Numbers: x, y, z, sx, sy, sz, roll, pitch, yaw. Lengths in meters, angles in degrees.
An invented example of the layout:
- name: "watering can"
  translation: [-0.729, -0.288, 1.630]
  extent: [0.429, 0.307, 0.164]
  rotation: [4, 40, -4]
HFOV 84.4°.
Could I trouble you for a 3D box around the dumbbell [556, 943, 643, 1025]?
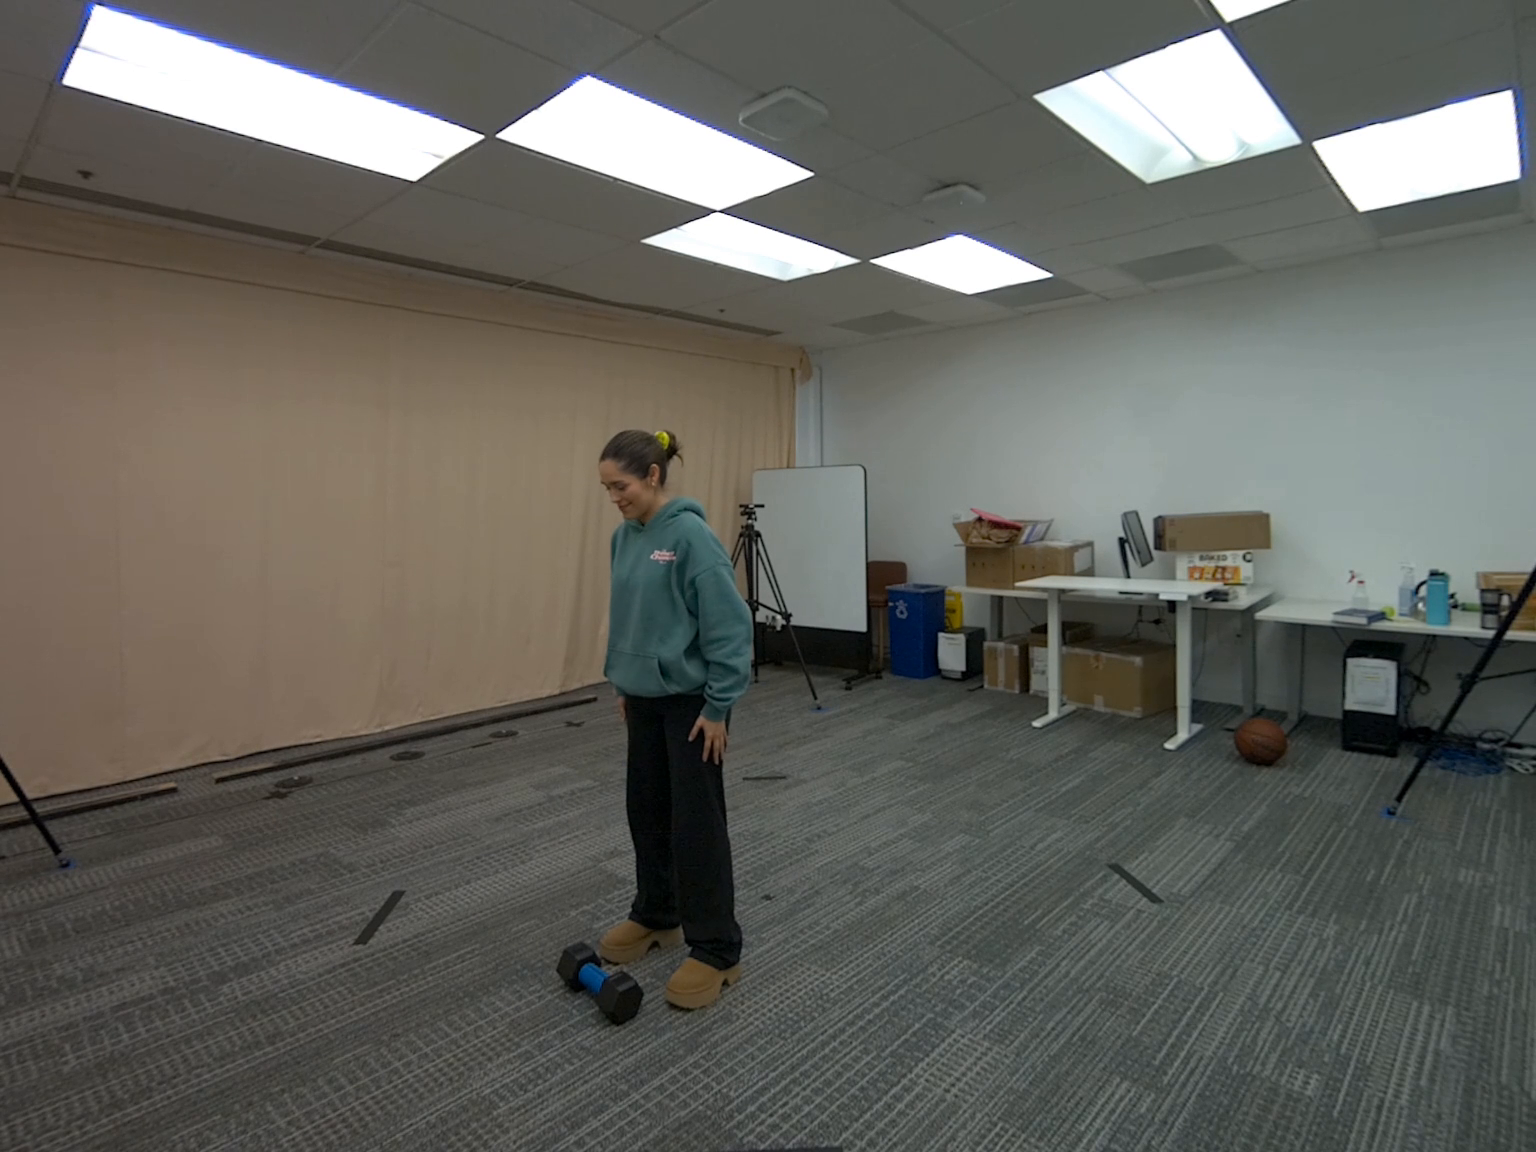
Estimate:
- name: "dumbbell"
  translation: [-0.475, 1.149, 2.378]
  extent: [0.303, 0.120, 0.107]
  rotation: [4, 38, 47]
